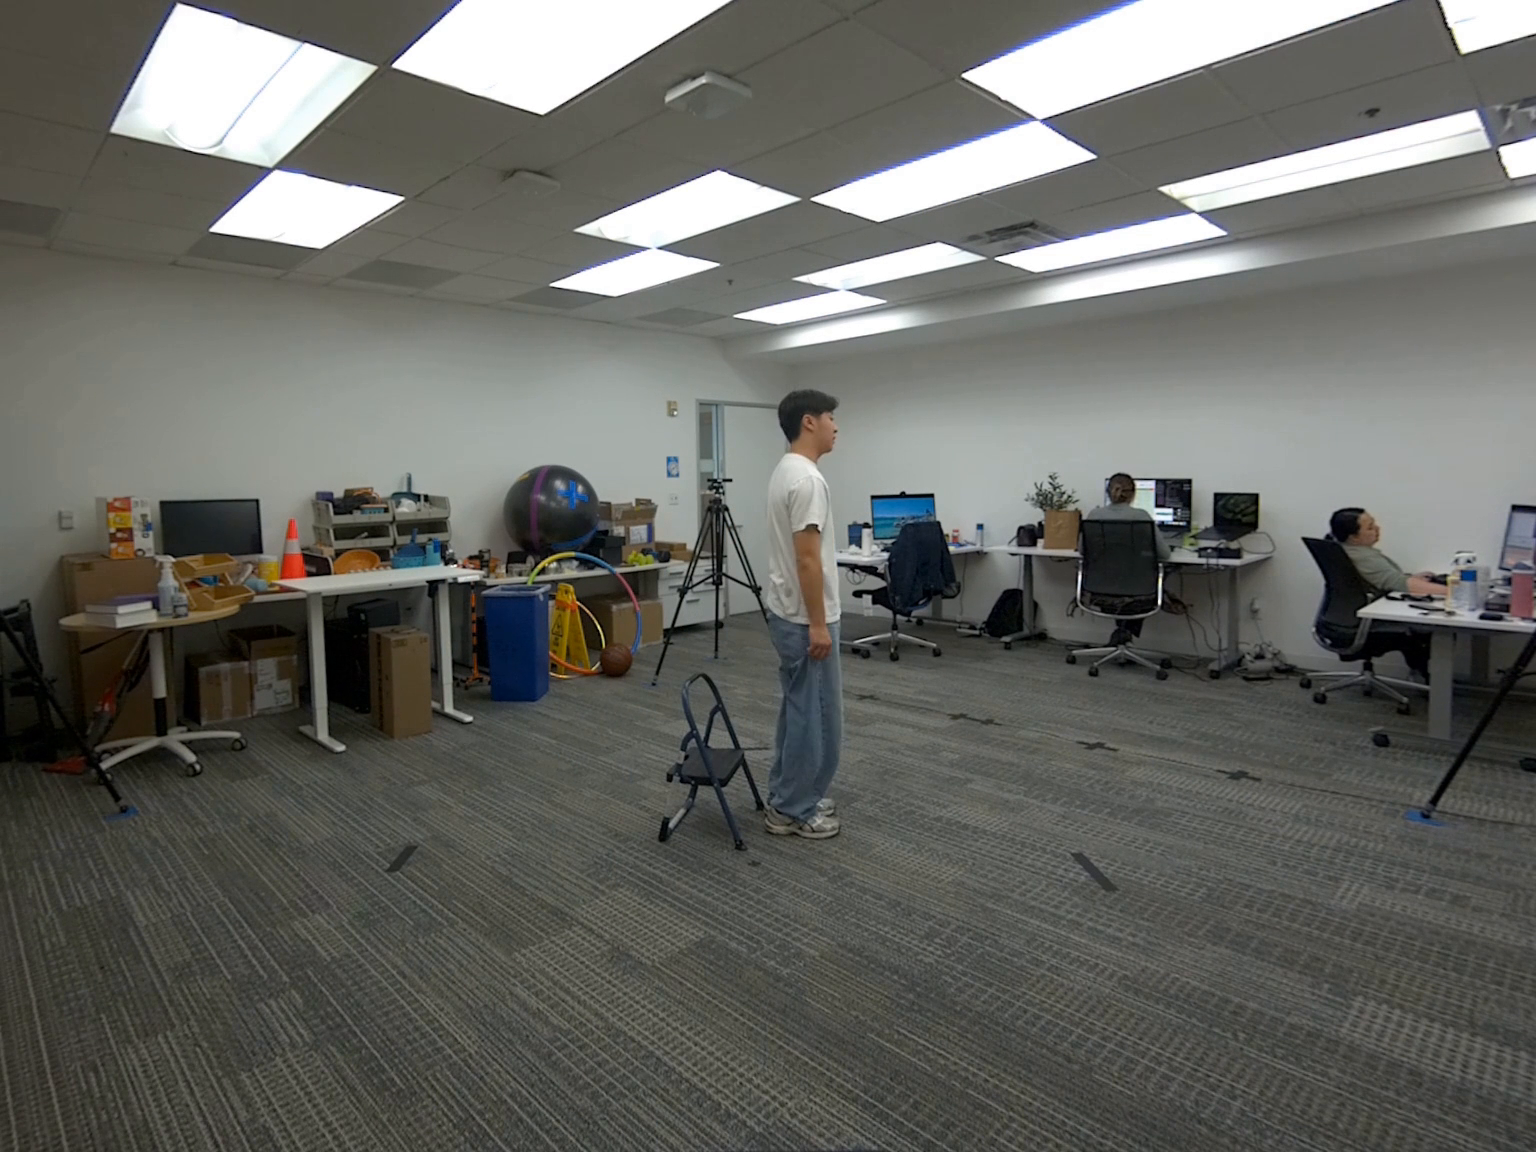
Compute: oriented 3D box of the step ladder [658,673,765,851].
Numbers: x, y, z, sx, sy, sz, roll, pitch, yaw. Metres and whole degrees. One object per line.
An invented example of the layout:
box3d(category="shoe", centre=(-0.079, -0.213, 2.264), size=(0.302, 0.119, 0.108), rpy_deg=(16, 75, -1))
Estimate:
box3d(category="step ladder", centre=(-0.220, 0.708, 3.445), size=(0.354, 0.604, 0.427), rpy_deg=(0, 4, 12))
